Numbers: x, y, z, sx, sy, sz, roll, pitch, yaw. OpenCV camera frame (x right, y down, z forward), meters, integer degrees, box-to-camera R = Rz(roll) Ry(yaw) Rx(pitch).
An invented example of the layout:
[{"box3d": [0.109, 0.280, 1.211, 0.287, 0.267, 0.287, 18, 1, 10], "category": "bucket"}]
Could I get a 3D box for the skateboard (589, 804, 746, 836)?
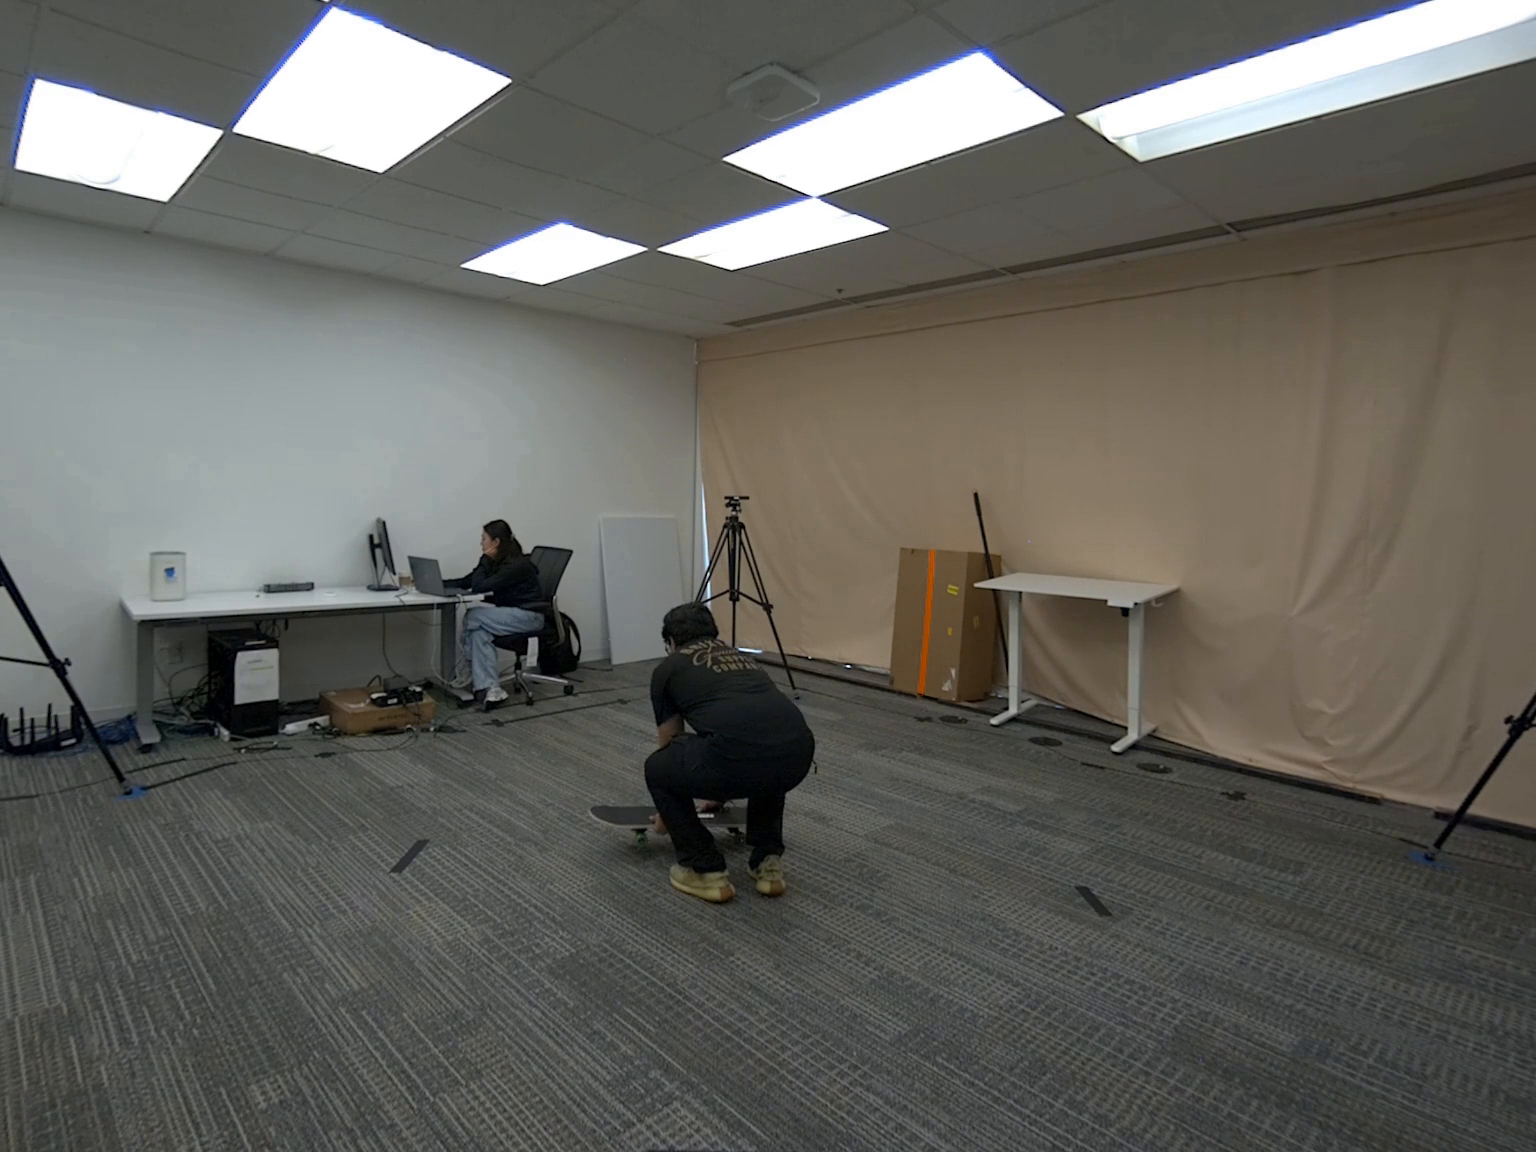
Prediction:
[{"box3d": [-0.328, 0.976, 3.351, 0.775, 0.110, 0.196, 3, 5, -16], "category": "skateboard"}]
